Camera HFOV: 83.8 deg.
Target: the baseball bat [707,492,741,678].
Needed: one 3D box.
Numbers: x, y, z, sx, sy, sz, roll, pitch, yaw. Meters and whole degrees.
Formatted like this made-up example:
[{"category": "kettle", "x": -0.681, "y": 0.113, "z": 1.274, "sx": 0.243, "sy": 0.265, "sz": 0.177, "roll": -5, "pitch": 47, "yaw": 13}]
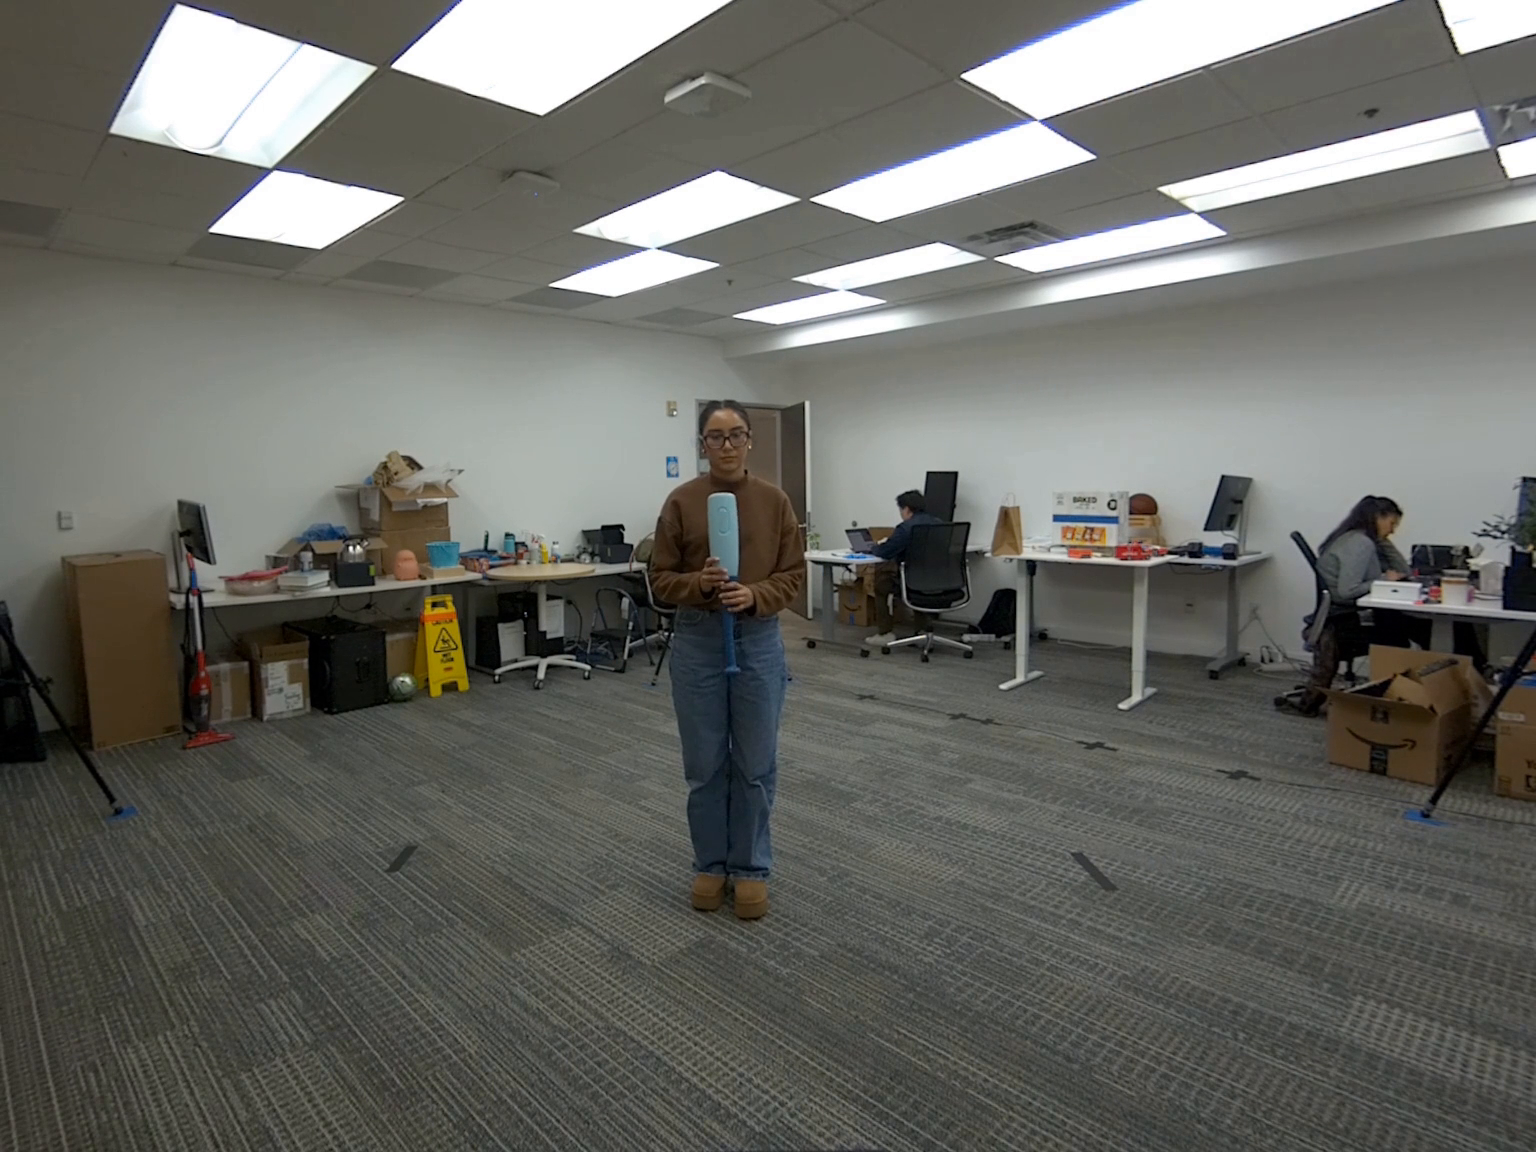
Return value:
[{"category": "baseball bat", "x": -0.125, "y": 0.035, "z": 2.534, "sx": 0.089, "sy": 0.546, "sz": 0.088, "roll": -3, "pitch": -7, "yaw": -2}]
